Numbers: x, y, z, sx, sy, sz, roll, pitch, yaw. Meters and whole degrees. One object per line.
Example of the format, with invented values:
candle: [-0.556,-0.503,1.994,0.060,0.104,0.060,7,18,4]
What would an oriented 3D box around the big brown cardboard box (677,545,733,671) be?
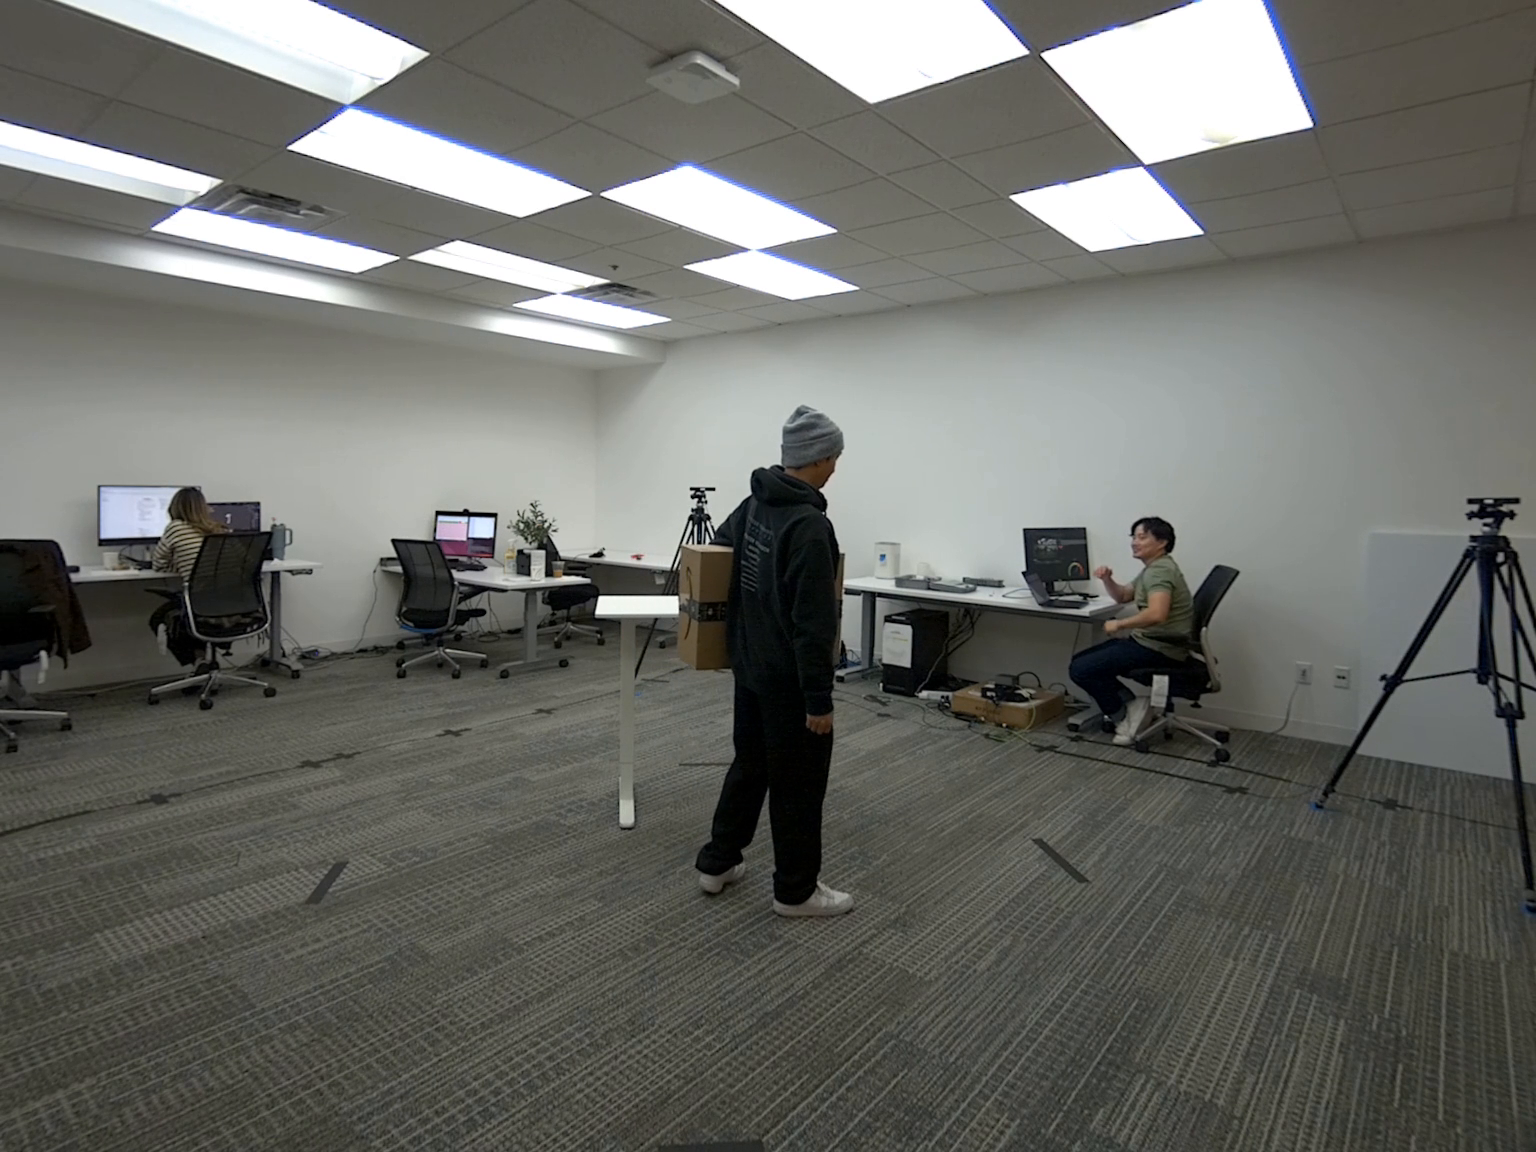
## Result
big brown cardboard box: [-0.035,0.101,3.105,0.576,0.416,0.239,0,5,-22]
